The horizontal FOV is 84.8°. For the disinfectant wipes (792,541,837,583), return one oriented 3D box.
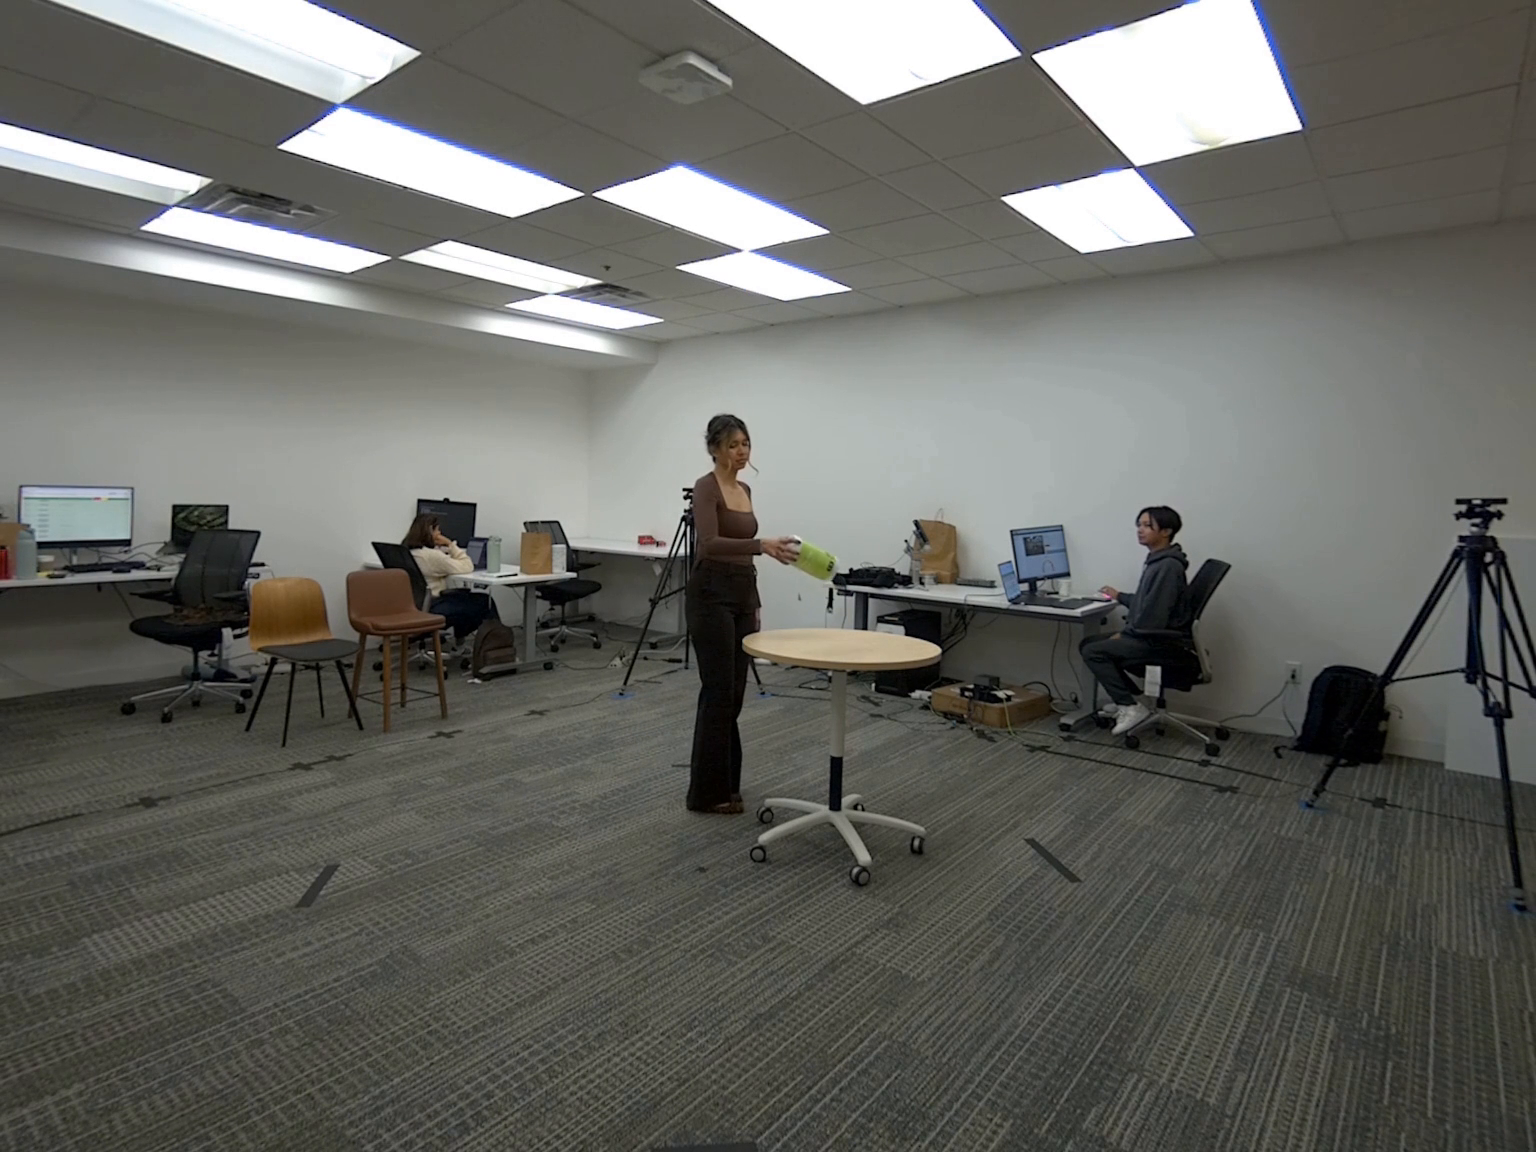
[{"bbox_3d":[0.147,-0.062,3.323,0.212,0.118,0.120,27,-6,-20],"label":"disinfectant wipes"}]
